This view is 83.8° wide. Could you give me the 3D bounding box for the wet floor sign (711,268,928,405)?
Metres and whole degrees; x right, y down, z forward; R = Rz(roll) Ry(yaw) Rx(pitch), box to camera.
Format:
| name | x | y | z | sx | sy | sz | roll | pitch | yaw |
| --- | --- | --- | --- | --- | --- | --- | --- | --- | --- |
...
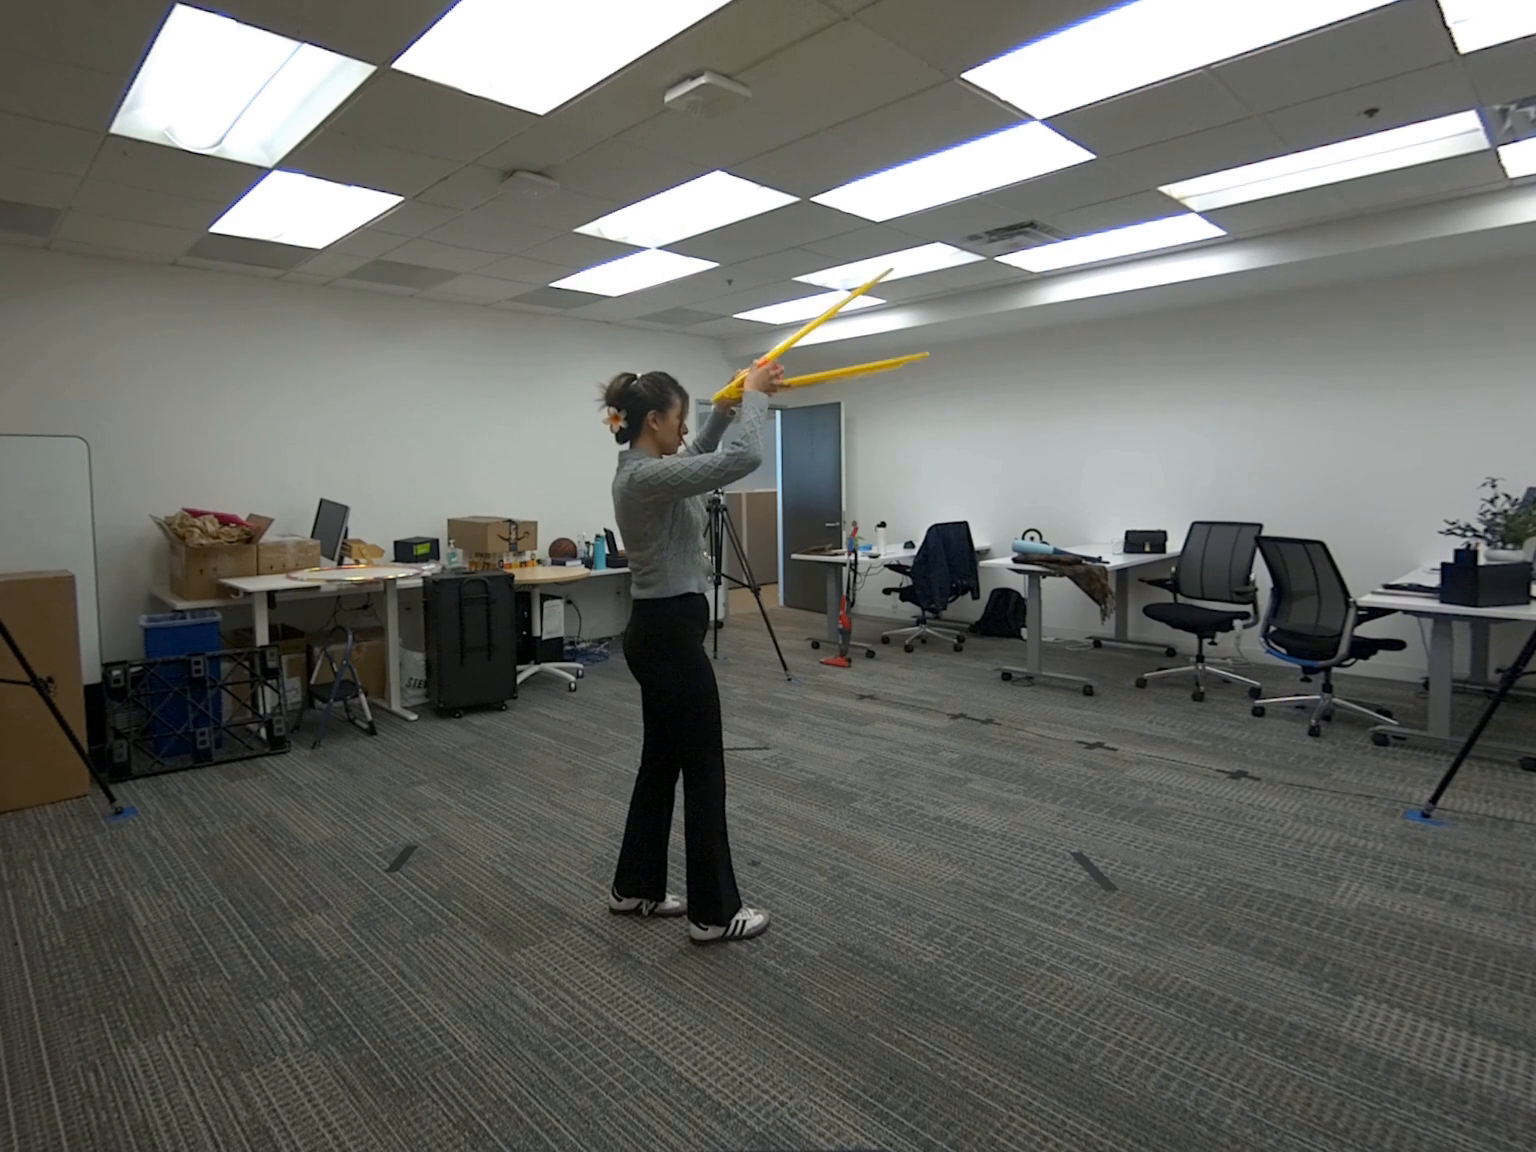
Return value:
| name | x | y | z | sx | sy | sz | roll | pitch | yaw |
| --- | --- | --- | --- | --- | --- | --- | --- | --- | --- |
| wet floor sign | 0.122 | -0.682 | 2.677 | 0.642 | 0.287 | 0.287 | -26 | 9 | -12 |
